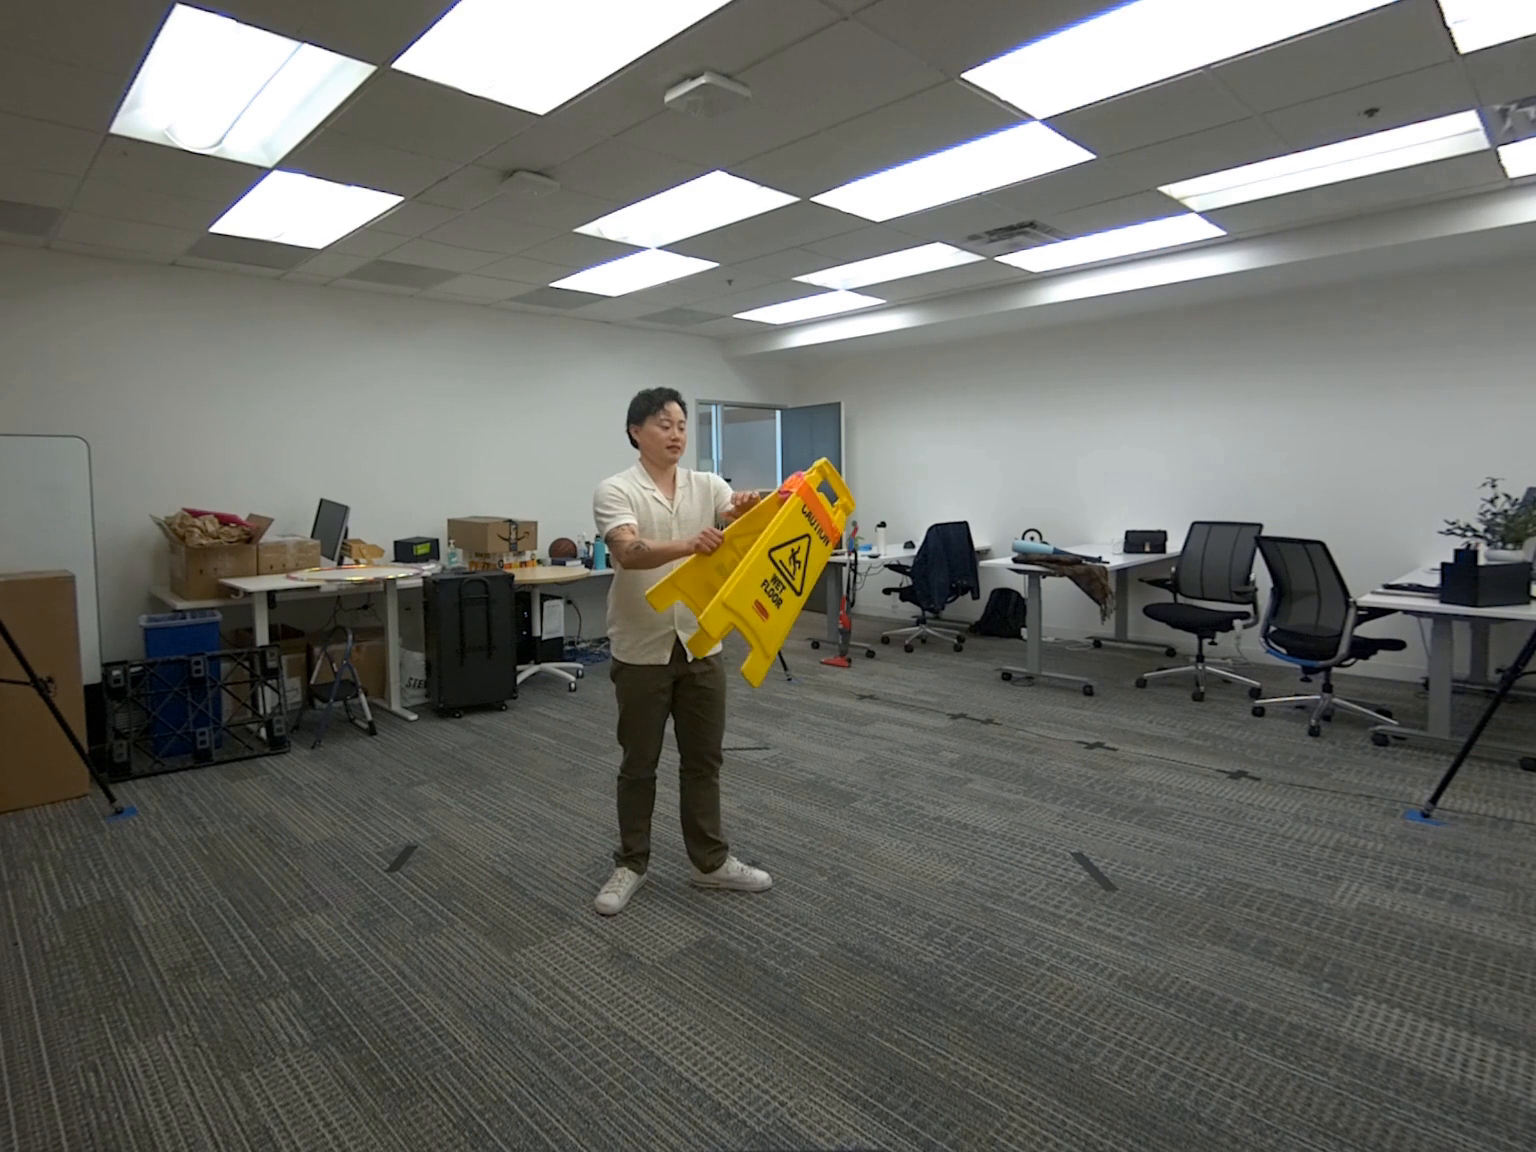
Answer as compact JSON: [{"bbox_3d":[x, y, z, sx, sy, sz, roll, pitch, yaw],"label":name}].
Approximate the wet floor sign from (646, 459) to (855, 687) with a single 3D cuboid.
[{"bbox_3d":[0.016,-0.051,2.418,0.646,0.273,0.299,-49,33,-17],"label":"wet floor sign"}]
